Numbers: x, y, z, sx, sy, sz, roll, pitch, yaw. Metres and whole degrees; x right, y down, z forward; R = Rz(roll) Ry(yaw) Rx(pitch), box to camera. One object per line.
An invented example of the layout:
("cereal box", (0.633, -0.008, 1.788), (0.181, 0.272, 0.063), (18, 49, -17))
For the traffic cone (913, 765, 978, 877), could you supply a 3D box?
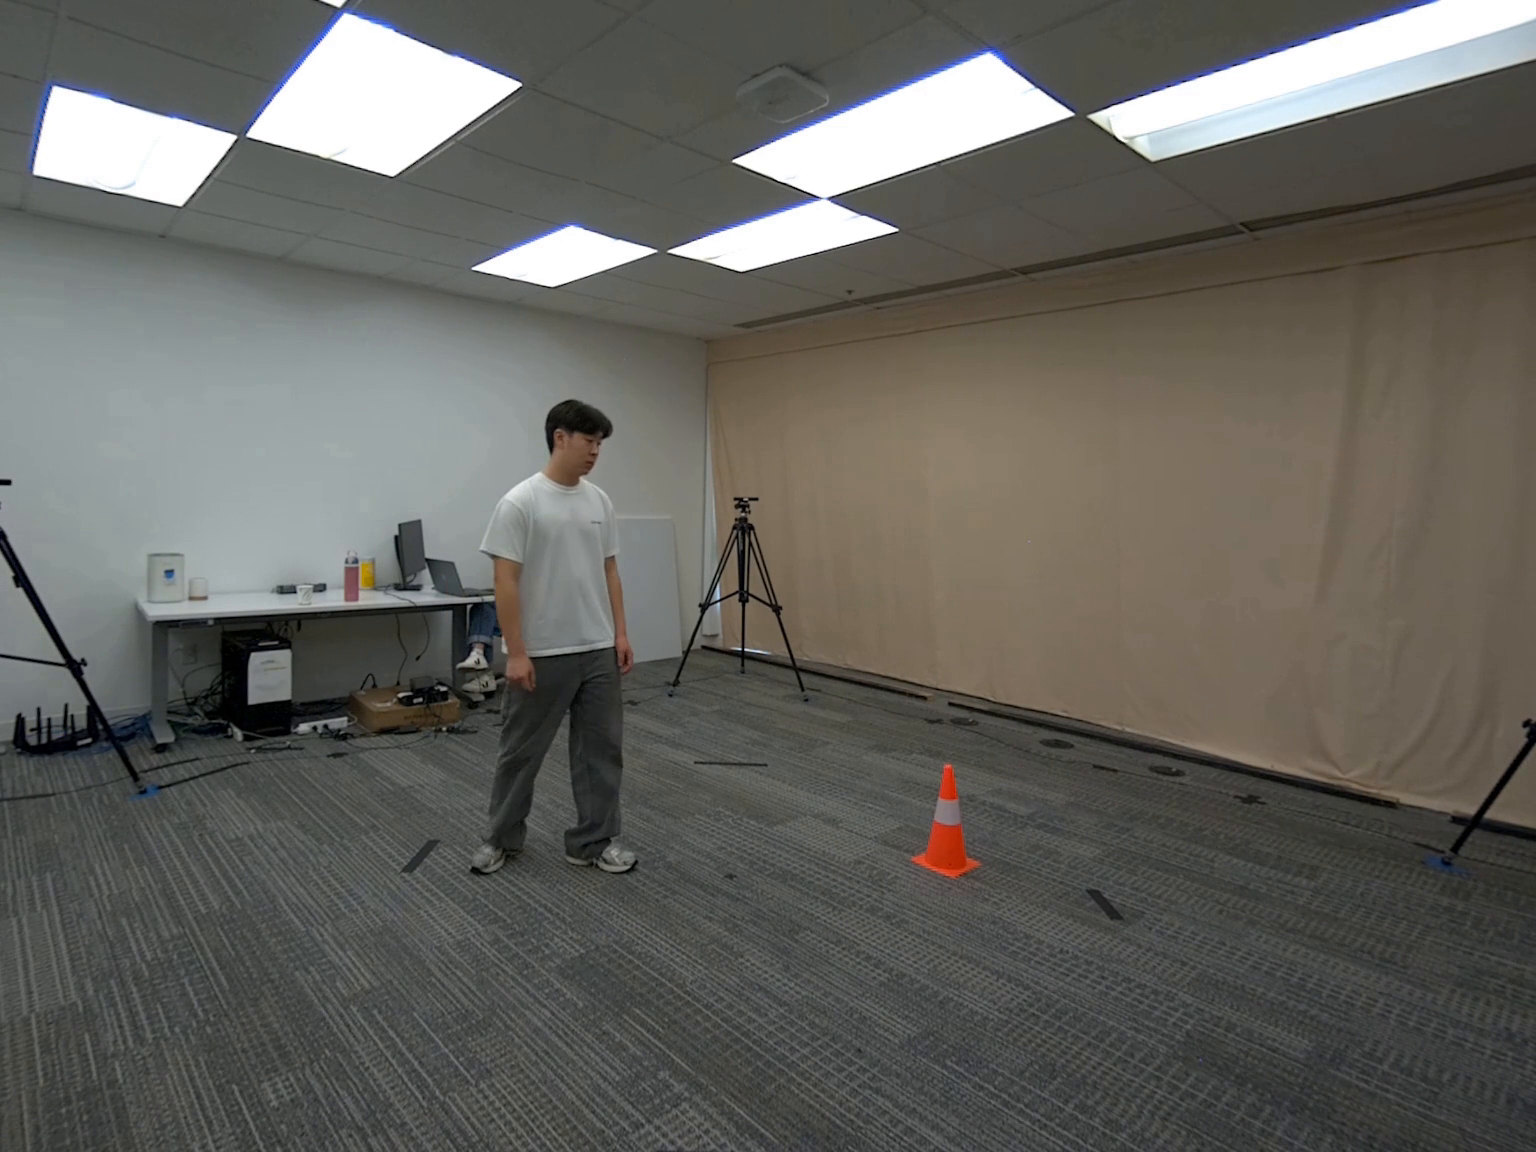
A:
("traffic cone", (0.699, 0.934, 3.266), (0.209, 0.382, 0.200), (10, 6, 41))
